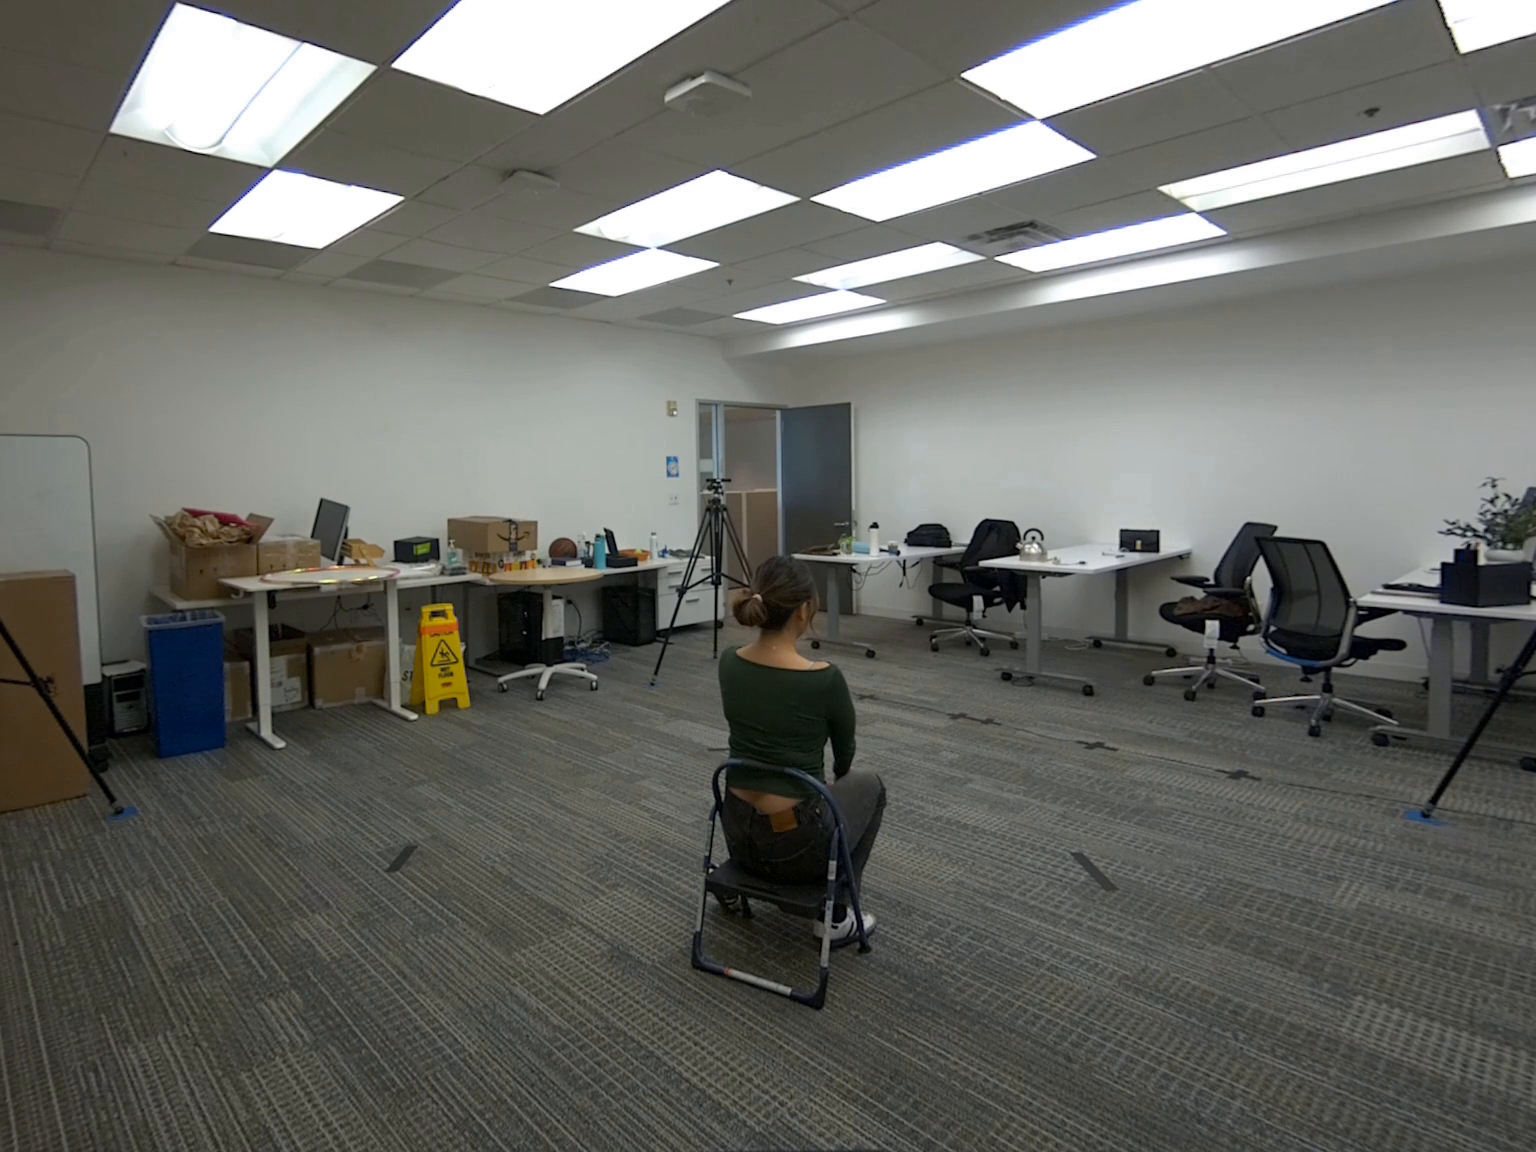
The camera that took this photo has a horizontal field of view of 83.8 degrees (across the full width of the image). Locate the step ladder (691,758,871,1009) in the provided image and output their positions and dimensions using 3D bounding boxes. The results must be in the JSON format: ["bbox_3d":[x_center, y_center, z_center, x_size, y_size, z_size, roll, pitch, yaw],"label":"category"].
[{"bbox_3d":[0.032,0.823,2.467,0.442,0.603,0.342,1,5,29],"label":"step ladder"}]
